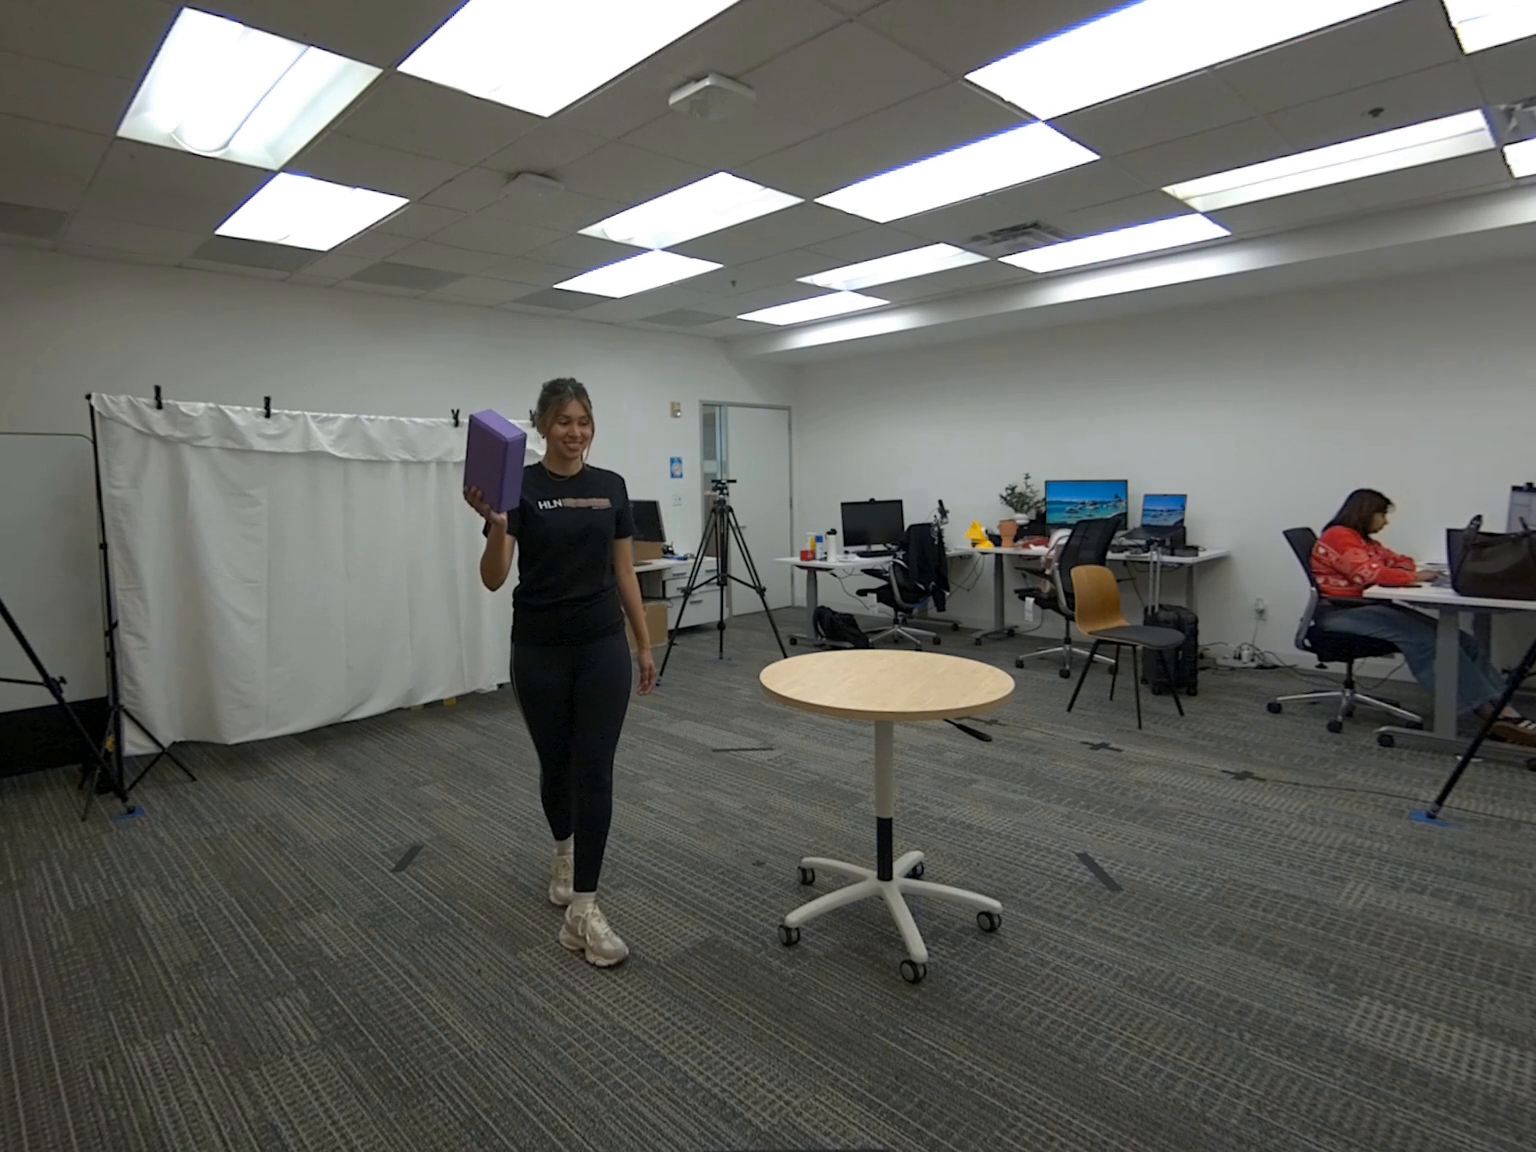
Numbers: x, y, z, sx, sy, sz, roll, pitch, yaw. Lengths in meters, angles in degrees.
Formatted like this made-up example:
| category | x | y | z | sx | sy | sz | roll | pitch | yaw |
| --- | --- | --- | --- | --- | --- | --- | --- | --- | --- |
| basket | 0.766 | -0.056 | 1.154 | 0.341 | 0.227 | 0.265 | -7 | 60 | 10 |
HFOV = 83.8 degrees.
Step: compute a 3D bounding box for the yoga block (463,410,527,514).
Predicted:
| category | x | y | z | sx | sy | sz | roll | pitch | yaw |
| --- | --- | --- | --- | --- | --- | --- | --- | --- | --- |
| yoga block | -0.703 | -0.293 | 2.181 | 0.153 | 0.225 | 0.075 | 33 | 37 | 22 |
